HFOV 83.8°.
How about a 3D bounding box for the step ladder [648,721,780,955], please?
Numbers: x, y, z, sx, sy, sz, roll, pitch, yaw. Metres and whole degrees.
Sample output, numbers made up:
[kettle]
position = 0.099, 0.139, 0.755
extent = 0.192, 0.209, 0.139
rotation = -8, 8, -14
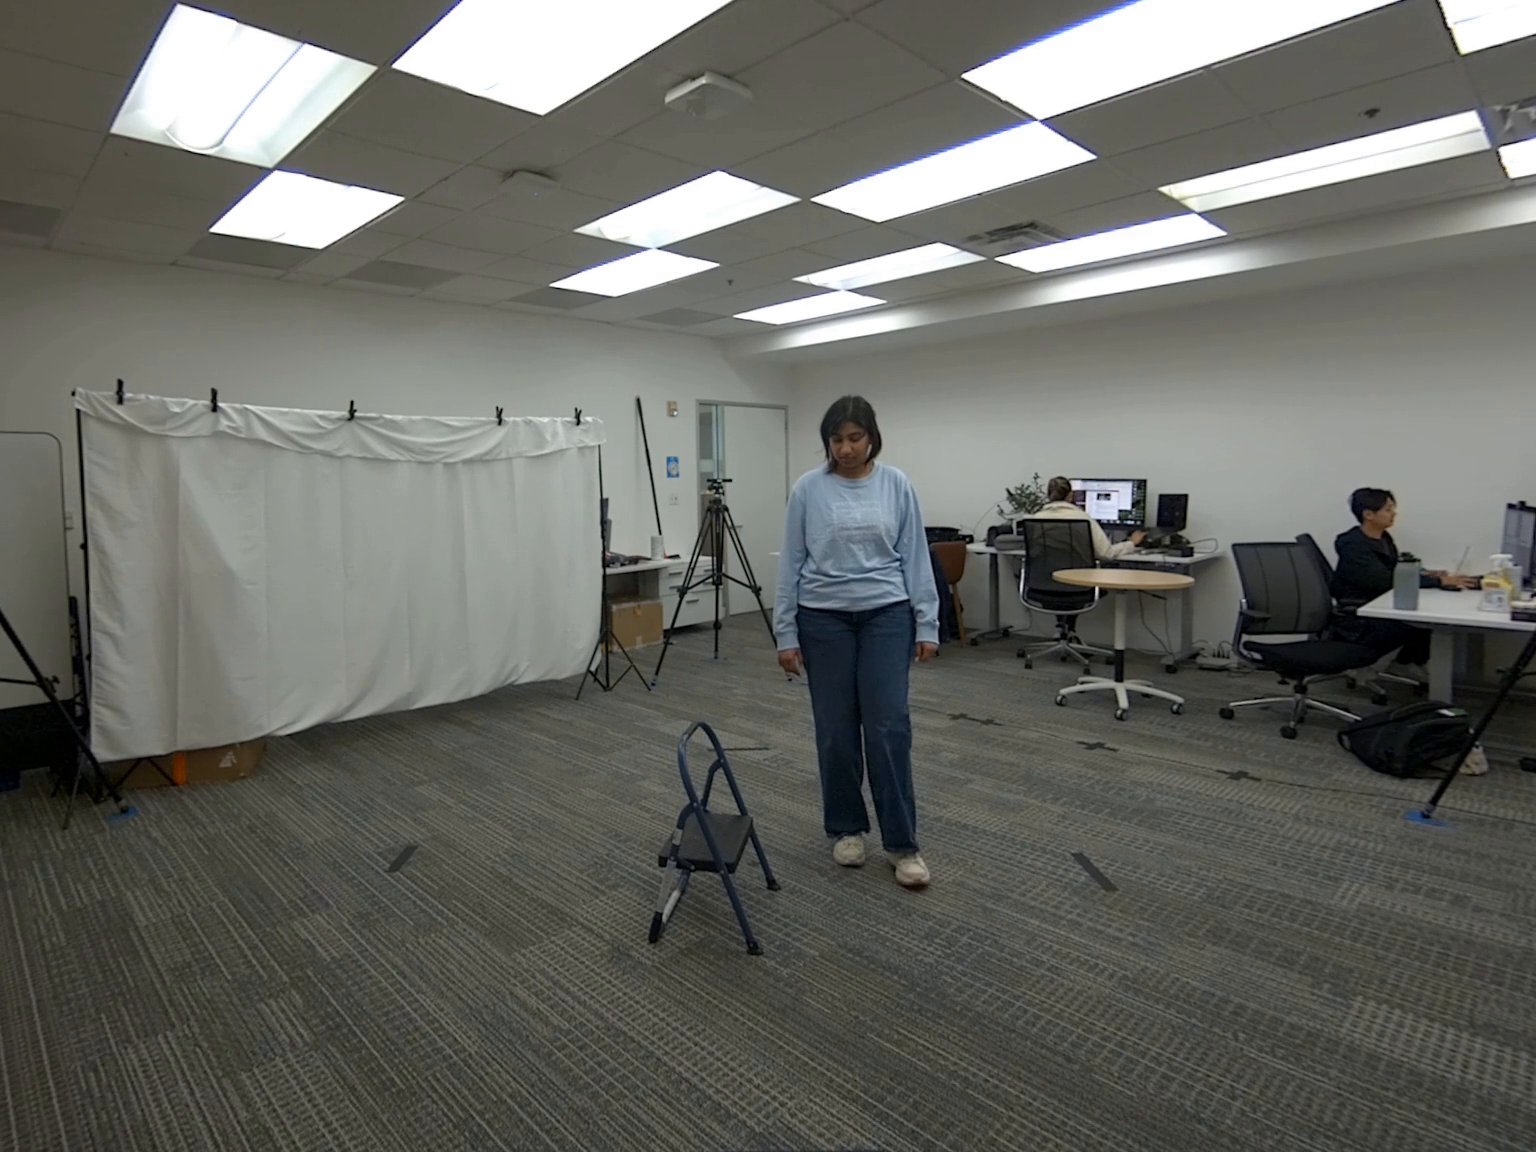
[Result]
[step ladder]
position = -0.167, 0.788, 2.728
extent = 0.353, 0.604, 0.428
rotation = 0, 5, 9
